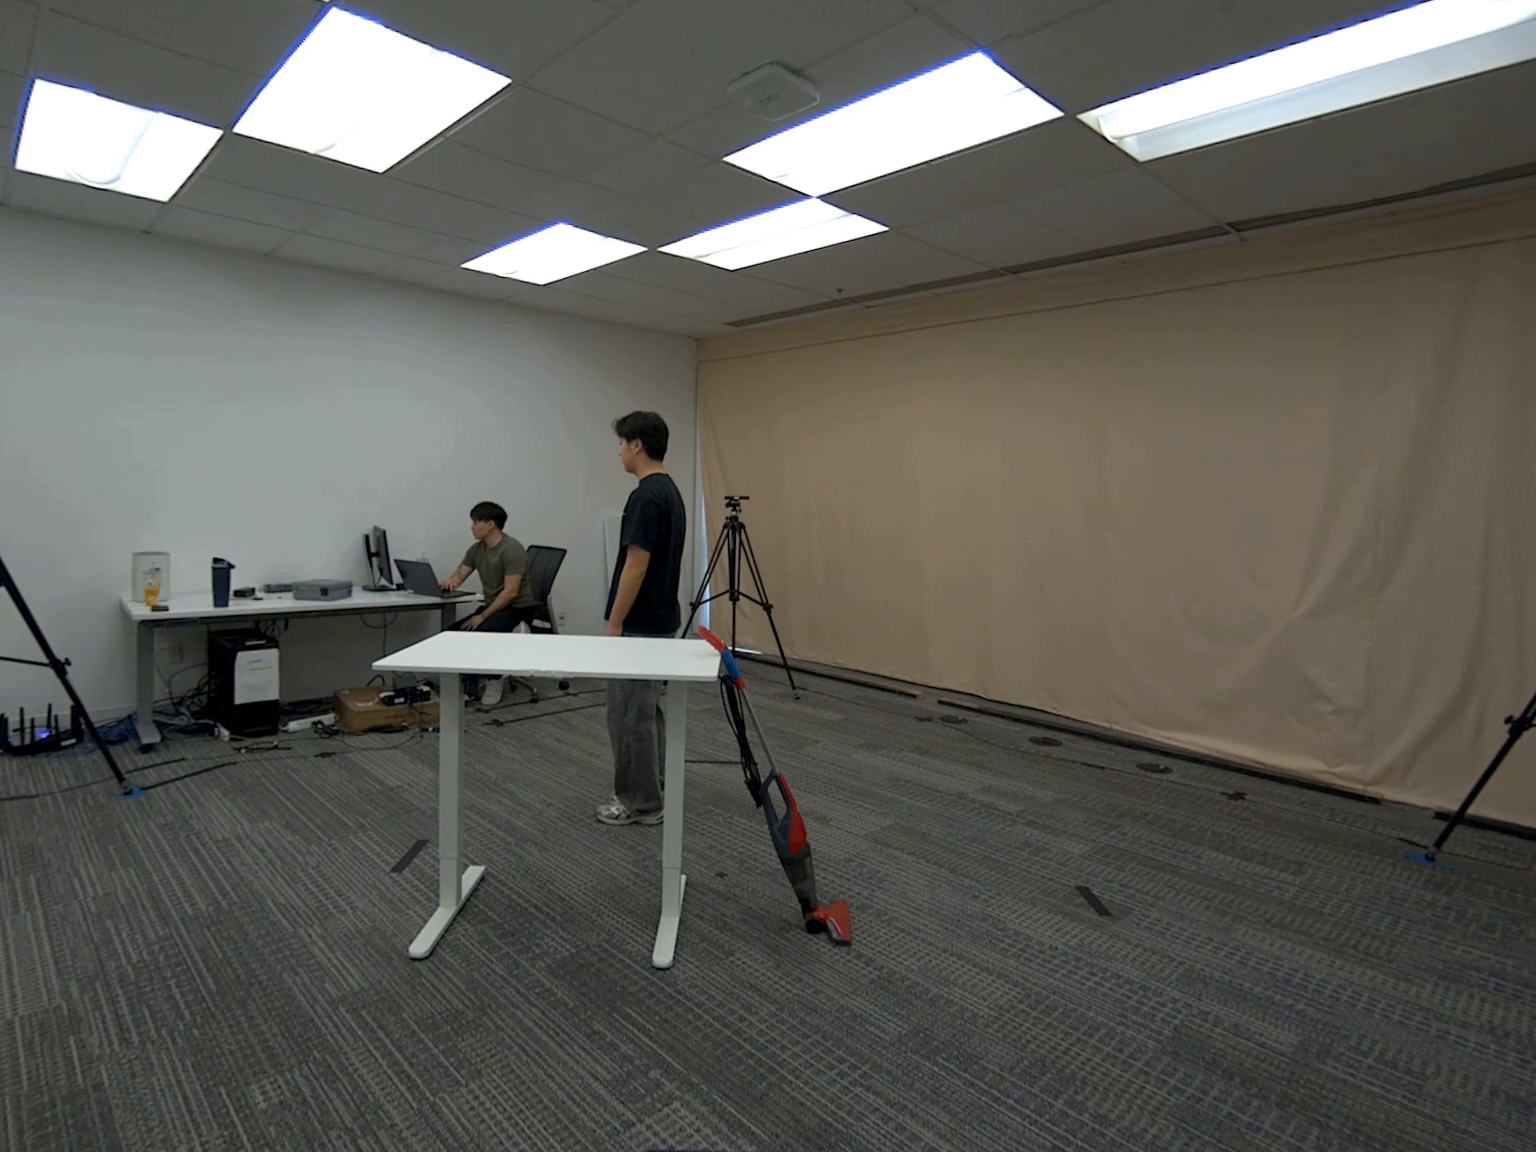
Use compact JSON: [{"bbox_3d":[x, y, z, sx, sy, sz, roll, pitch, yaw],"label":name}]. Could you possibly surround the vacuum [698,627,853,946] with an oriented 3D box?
[{"bbox_3d":[-0.014,0.657,2.748,0.144,1.049,0.252,-23,0,2],"label":"vacuum"}]
